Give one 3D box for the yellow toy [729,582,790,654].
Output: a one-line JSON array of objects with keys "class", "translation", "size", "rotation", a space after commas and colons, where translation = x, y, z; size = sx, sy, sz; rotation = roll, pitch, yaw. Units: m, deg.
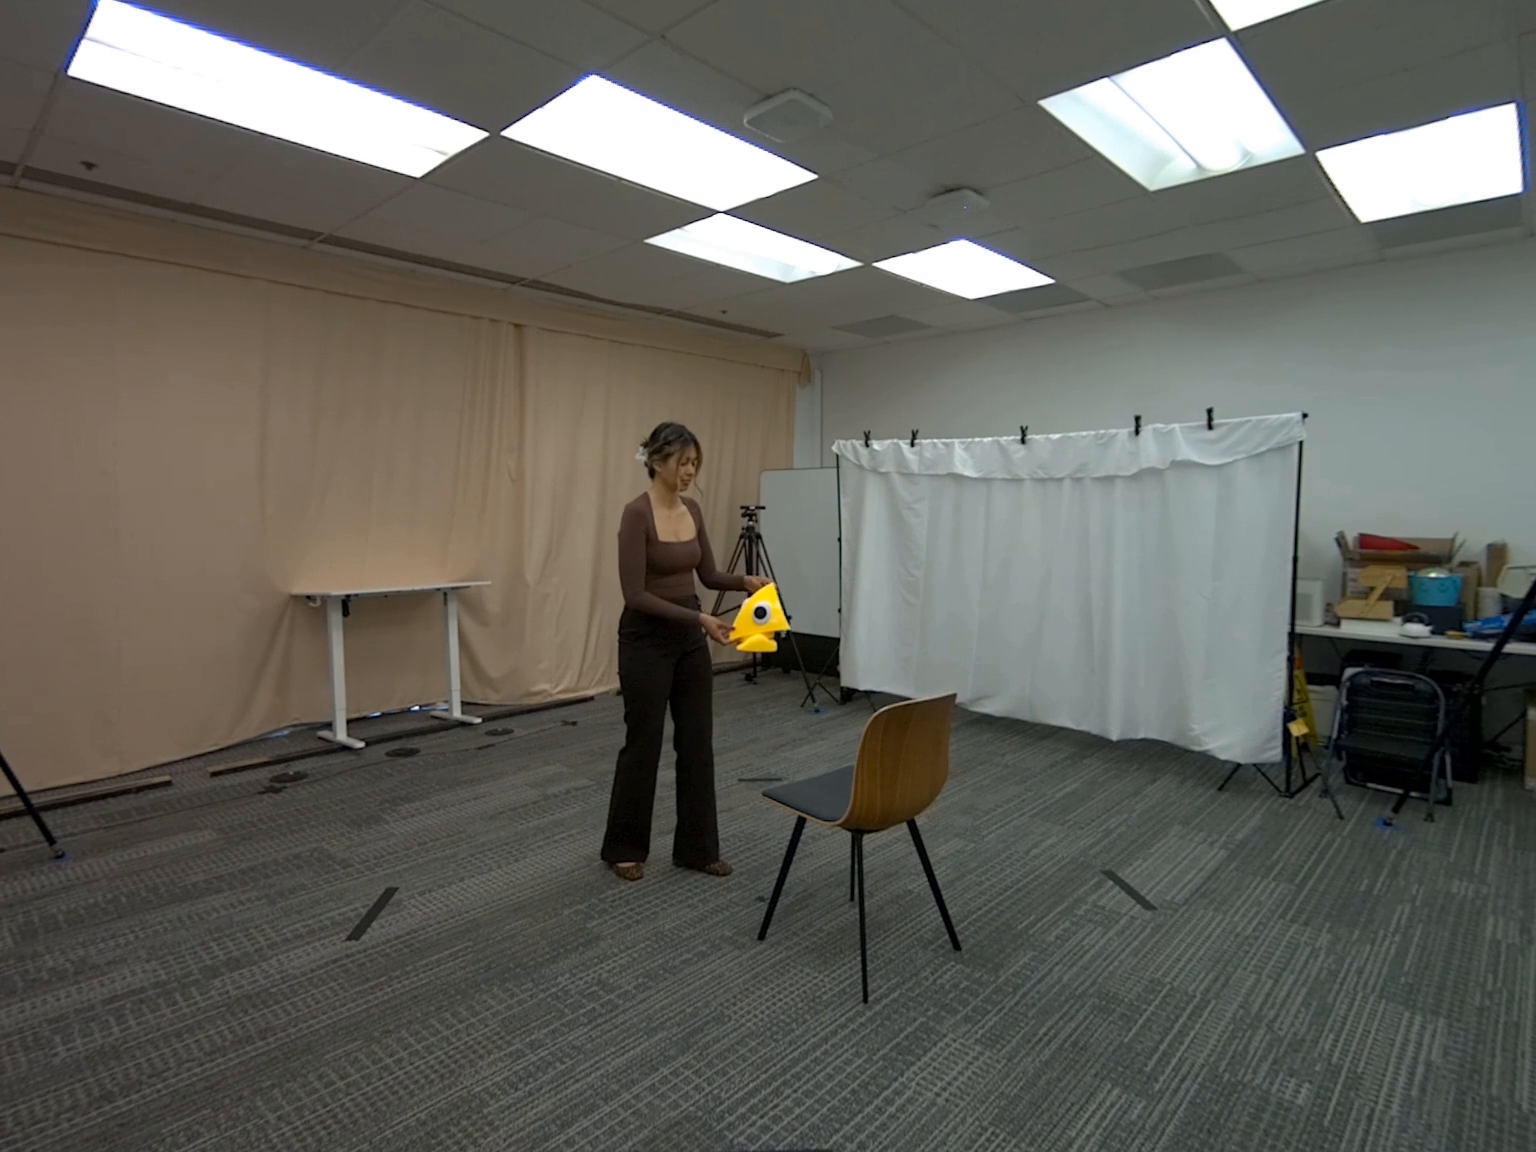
[{"class": "yellow toy", "translation": [-0.048, 0.139, 3.008], "size": [0.188, 0.230, 0.210], "rotation": [3, 4, -26]}]
